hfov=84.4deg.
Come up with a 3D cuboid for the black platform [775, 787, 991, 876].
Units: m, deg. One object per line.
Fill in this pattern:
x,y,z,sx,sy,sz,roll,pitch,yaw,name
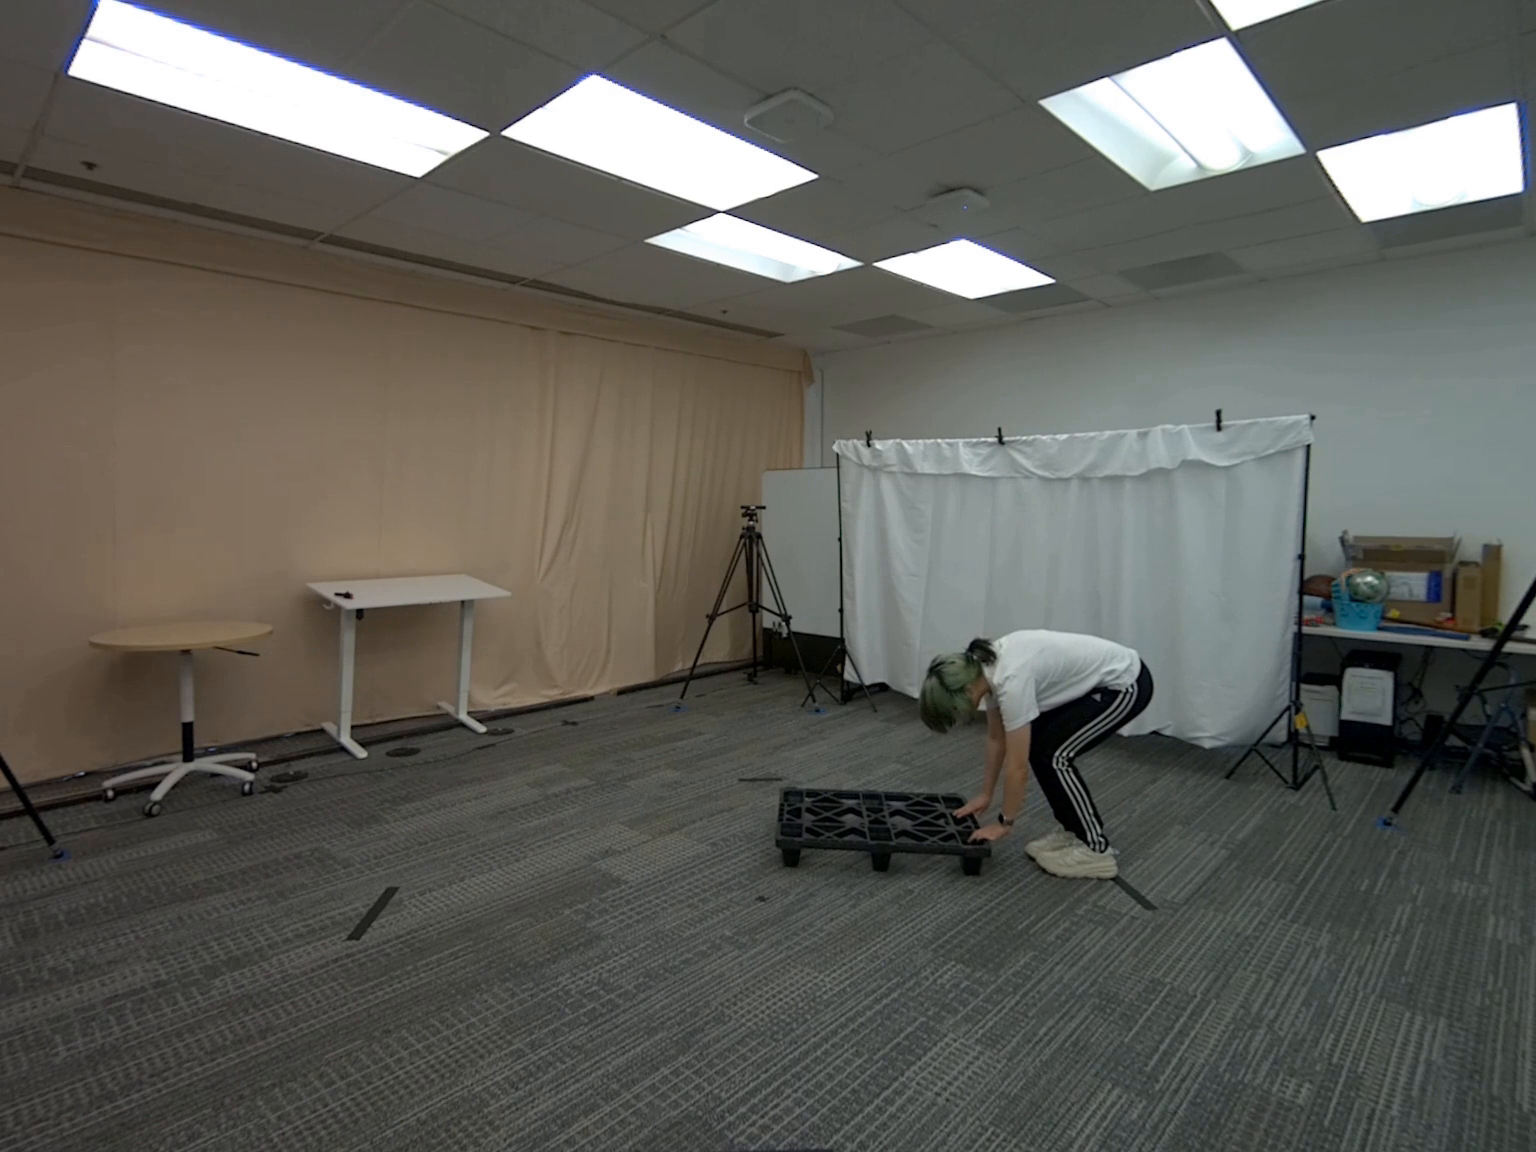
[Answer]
0.444,1.038,3.433,0.811,0.143,0.602,1,4,5,black platform
